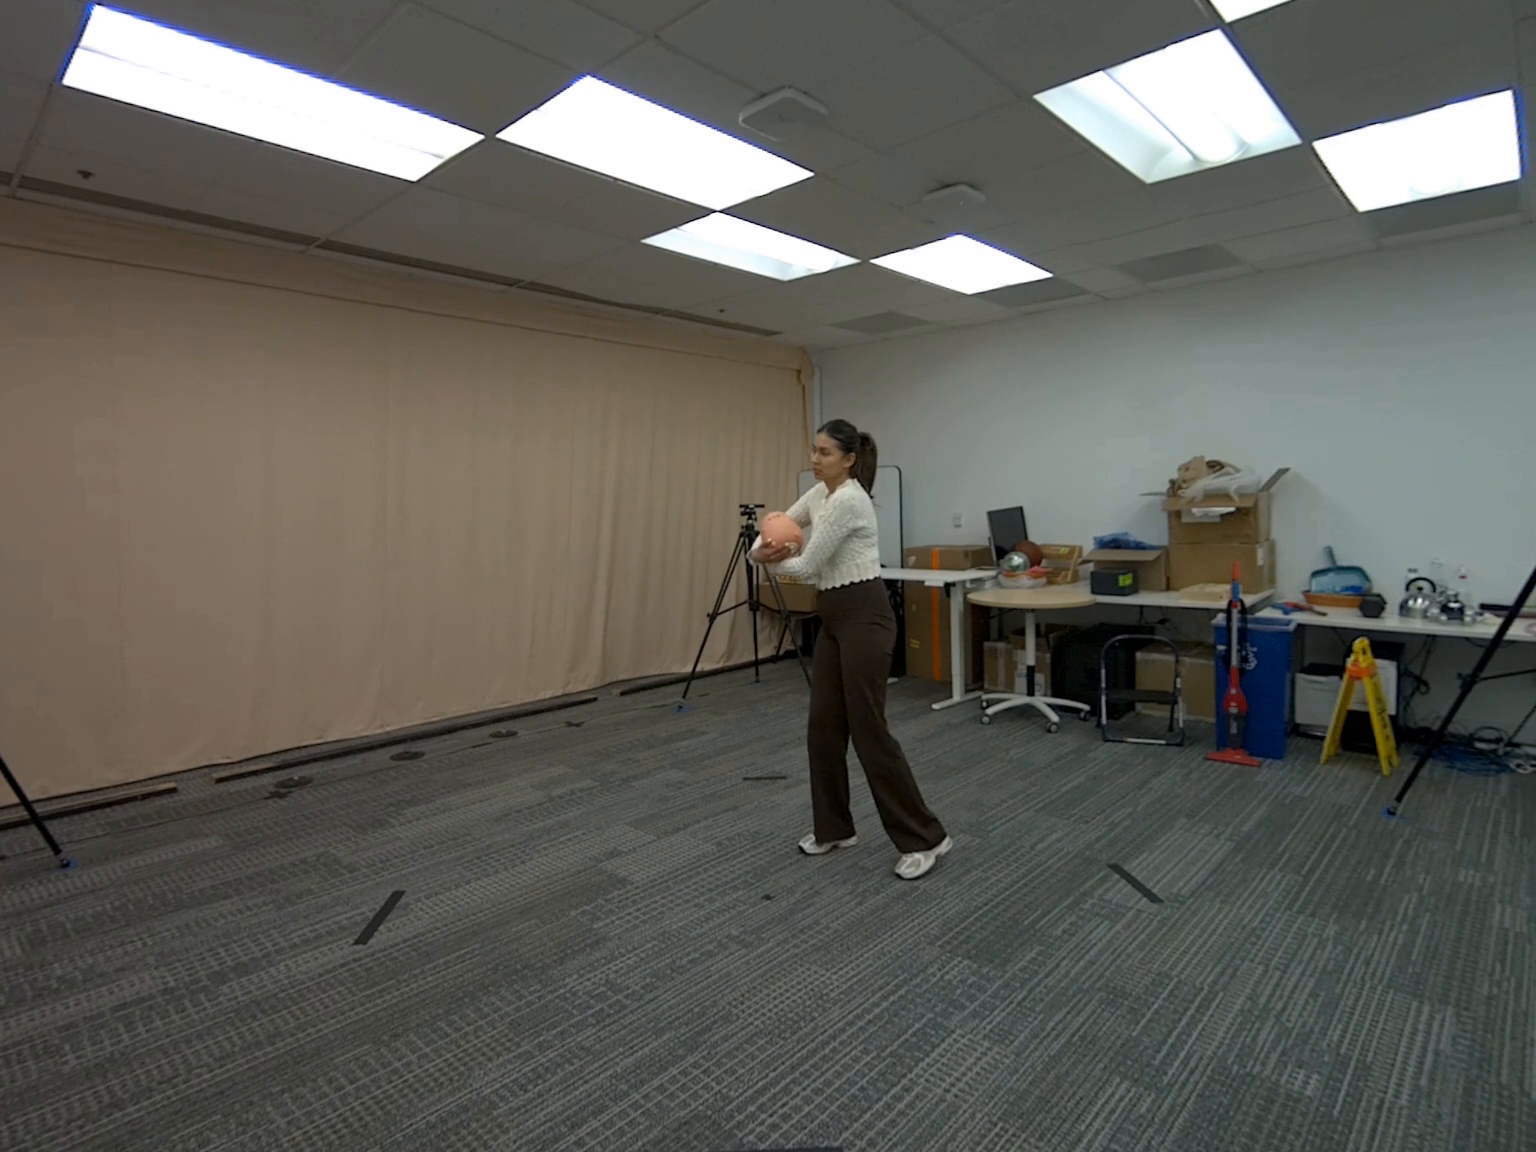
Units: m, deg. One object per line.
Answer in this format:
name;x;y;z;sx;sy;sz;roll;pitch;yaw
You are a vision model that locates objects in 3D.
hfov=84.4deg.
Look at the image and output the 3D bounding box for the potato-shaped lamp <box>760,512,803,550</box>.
potato-shaped lamp;0.061;-0.169;3.400;0.164;0.204;0.167;-20;-39;-2
